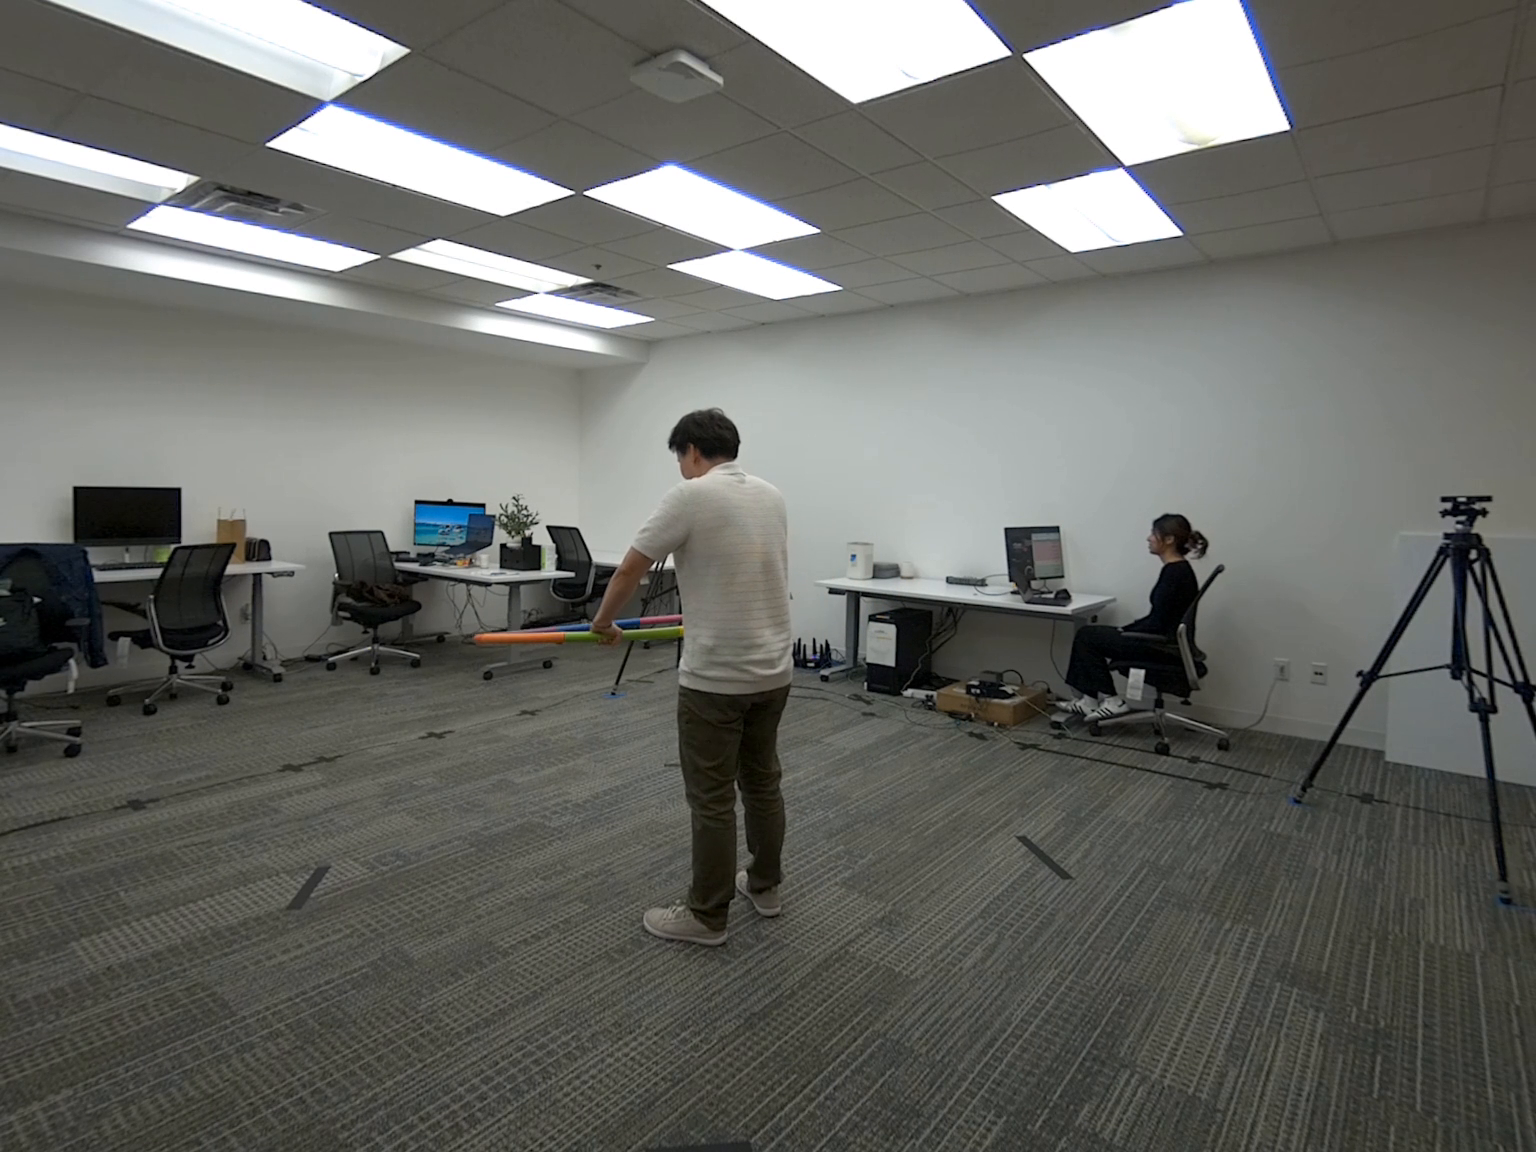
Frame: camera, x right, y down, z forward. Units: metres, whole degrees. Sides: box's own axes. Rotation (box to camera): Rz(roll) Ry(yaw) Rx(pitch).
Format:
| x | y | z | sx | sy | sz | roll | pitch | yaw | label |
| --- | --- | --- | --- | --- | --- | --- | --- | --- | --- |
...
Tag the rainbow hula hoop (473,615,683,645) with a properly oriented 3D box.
| x | y | z | sx | sy | sz | roll | pitch | yaw | label |
| --- | --- | --- | --- | --- | --- | --- | --- | --- | --- |
| -0.636 | 0.204 | 3.227 | 0.978 | 0.035 | 0.978 | -4 | 0 | -2 | rainbow hula hoop |
